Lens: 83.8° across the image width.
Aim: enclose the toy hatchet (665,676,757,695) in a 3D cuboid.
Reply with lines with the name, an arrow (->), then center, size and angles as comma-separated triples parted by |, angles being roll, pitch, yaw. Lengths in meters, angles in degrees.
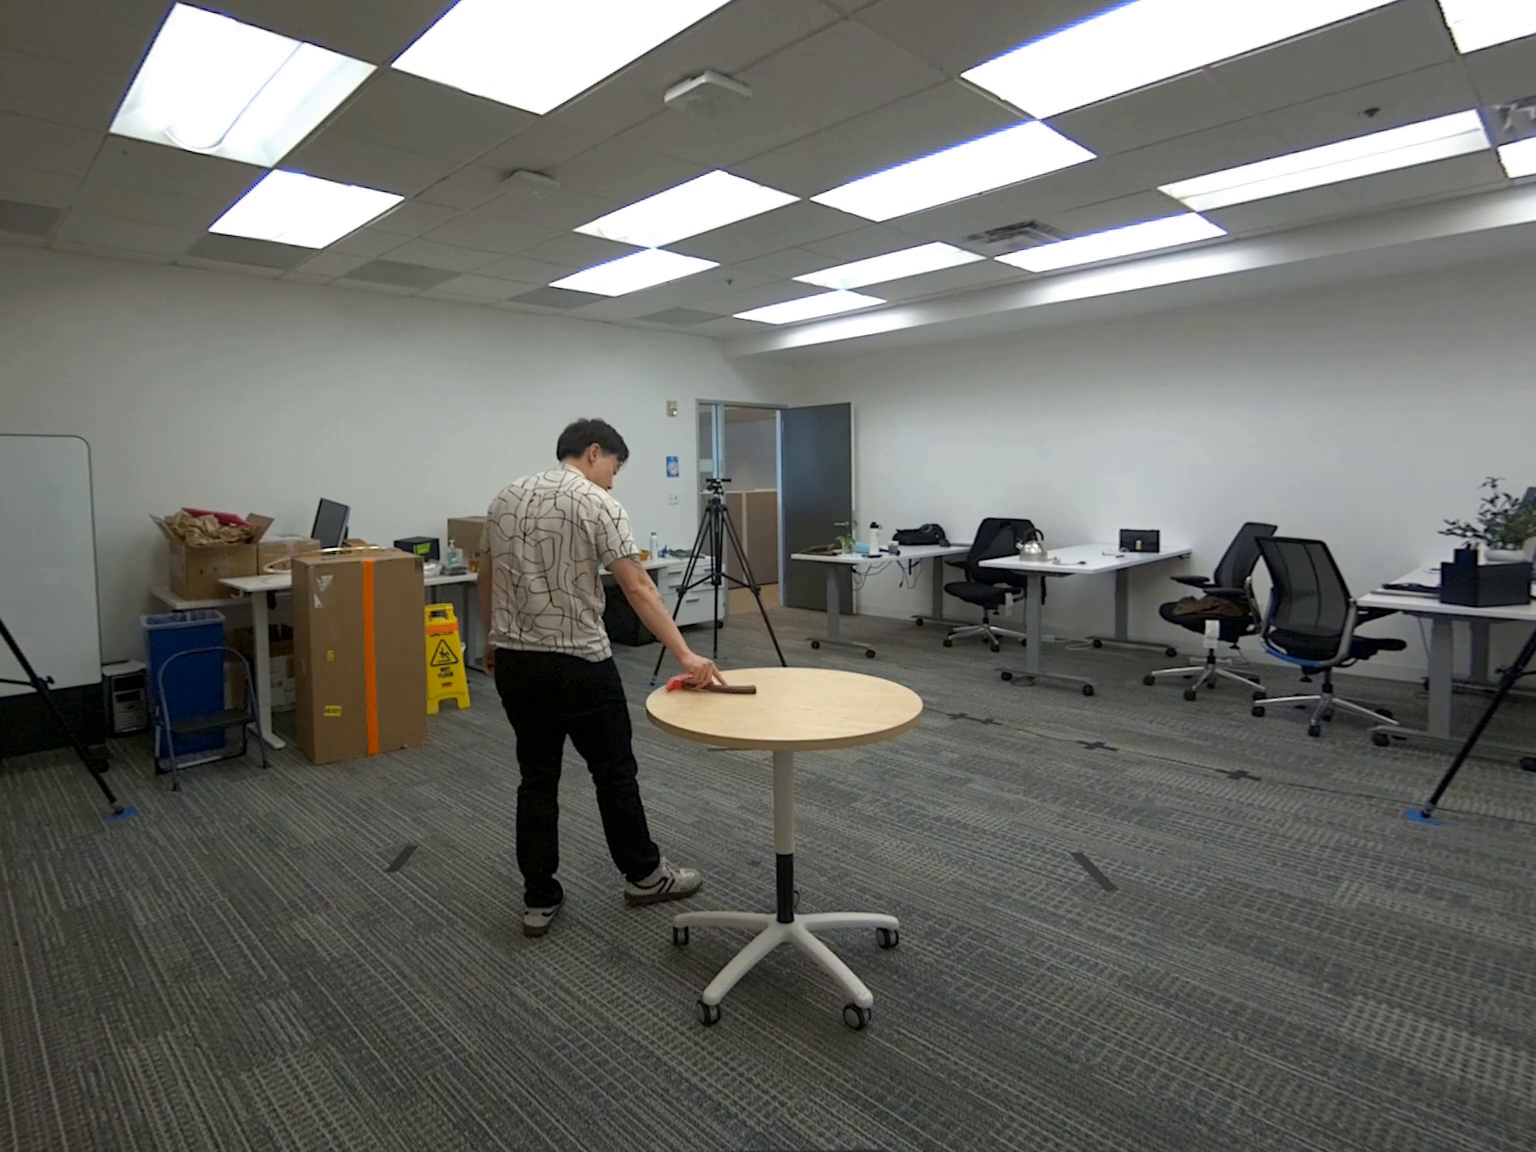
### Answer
toy hatchet -> -0.160, 0.321, 2.505 | 0.272, 0.029, 0.131 | 1, 8, 8
